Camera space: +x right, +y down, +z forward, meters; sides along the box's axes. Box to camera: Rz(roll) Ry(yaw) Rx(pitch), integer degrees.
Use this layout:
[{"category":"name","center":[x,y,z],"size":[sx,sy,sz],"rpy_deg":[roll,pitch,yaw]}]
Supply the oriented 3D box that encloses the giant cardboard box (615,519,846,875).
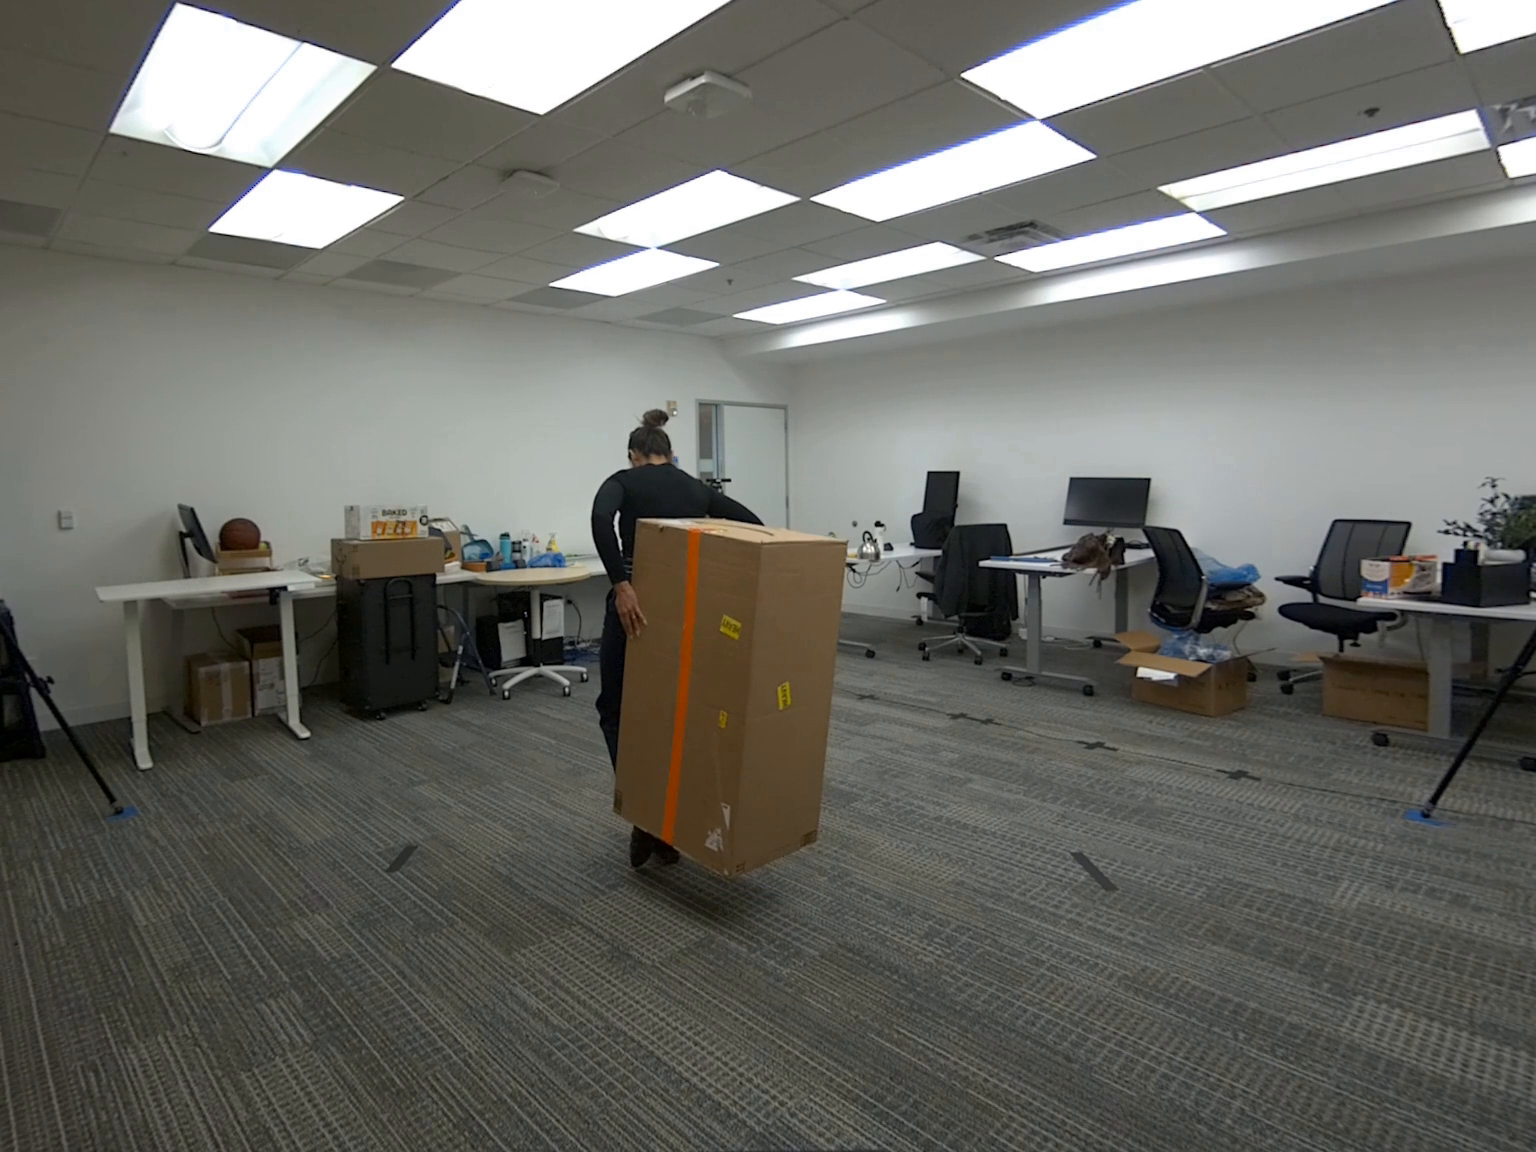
[{"category":"giant cardboard box","center":[-0.134,0.356,2.847],"size":[0.597,1.021,0.414],"rpy_deg":[10,7,43]}]
